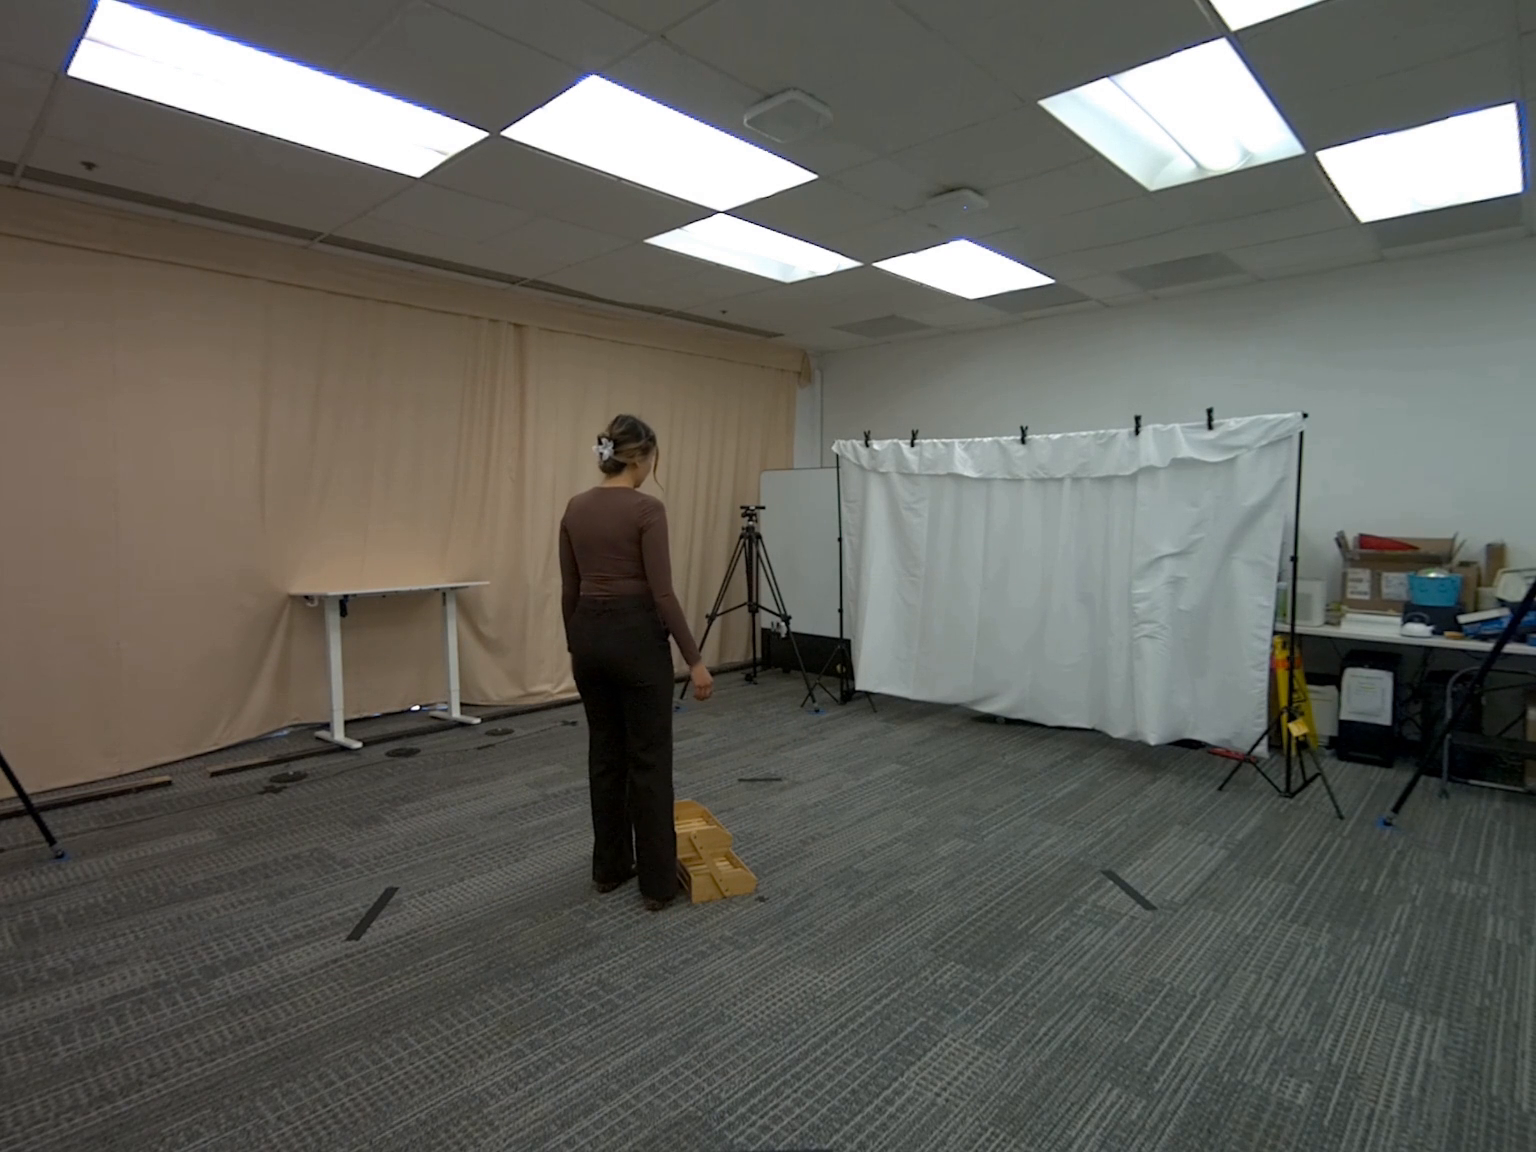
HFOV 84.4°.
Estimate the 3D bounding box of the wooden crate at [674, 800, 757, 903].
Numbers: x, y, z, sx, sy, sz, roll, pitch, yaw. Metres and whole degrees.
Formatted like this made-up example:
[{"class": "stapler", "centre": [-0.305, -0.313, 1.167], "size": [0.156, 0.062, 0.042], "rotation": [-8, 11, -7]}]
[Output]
[{"class": "wooden crate", "centre": [-0.232, 1.003, 3.117], "size": [0.296, 0.273, 0.332], "rotation": [-3, 4, -21]}]
